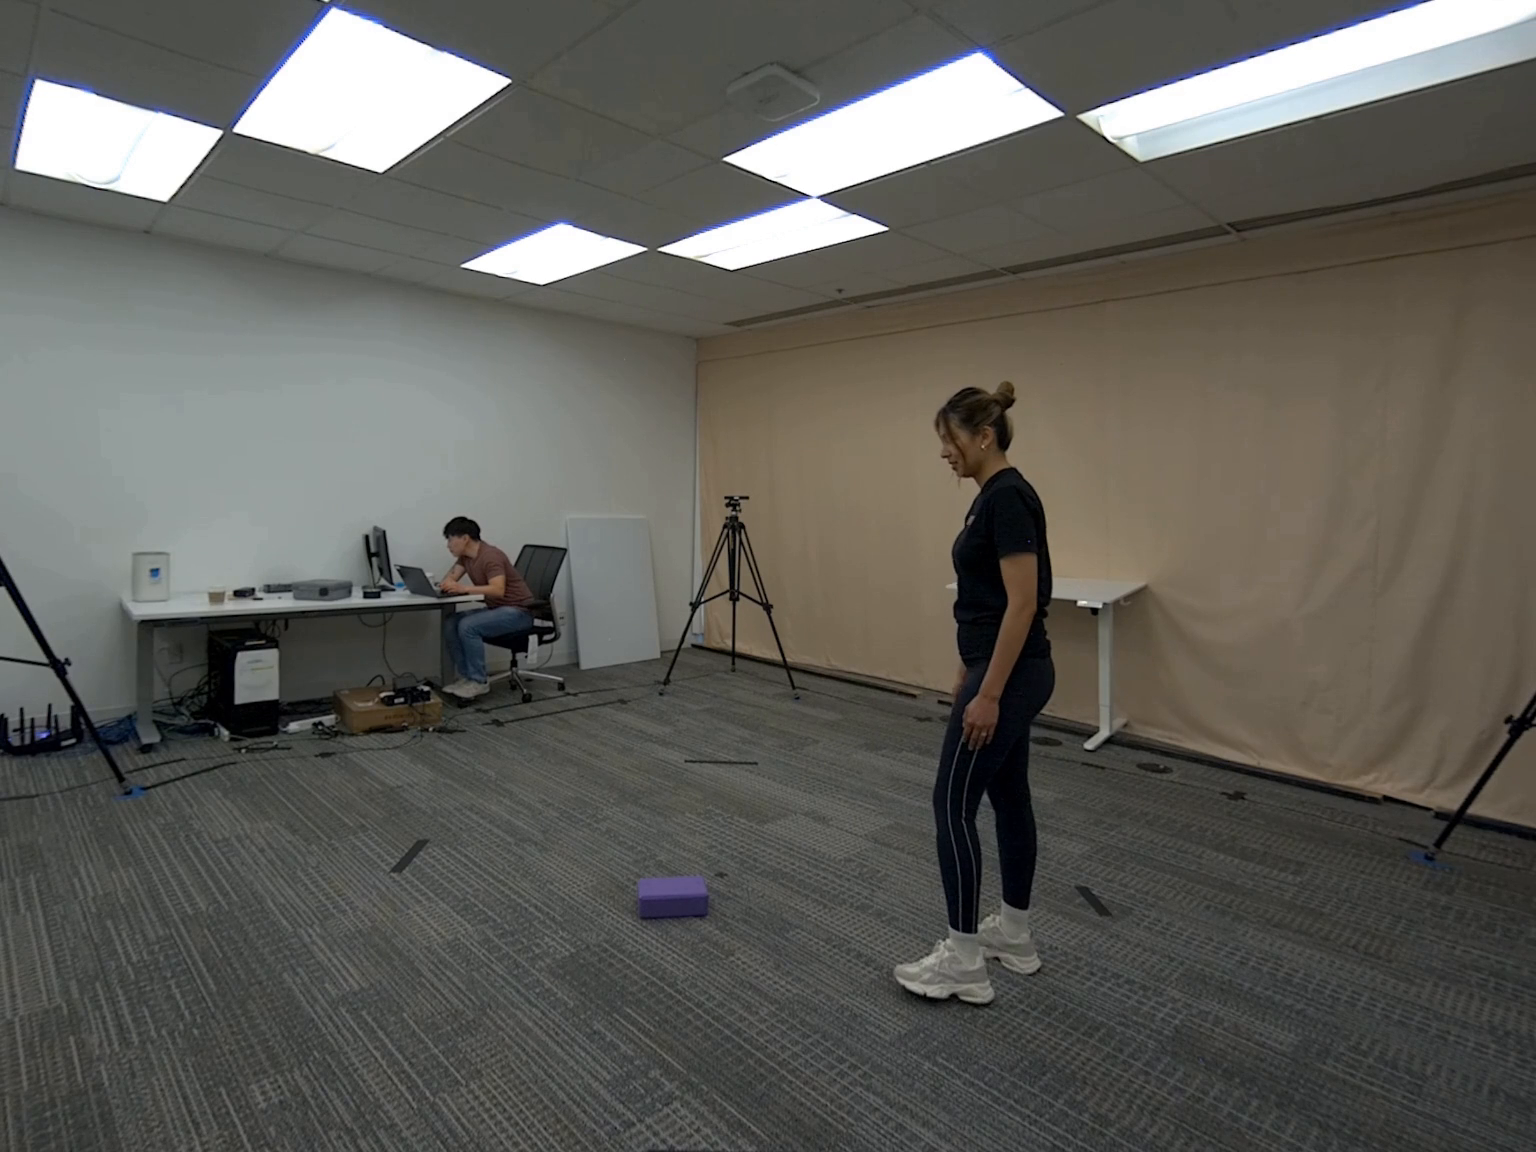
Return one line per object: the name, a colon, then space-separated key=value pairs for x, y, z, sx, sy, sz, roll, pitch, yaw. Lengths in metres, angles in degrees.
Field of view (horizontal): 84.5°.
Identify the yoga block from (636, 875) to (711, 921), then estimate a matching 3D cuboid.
yoga block: x=-0.328 y=1.086 z=2.843 sx=0.228 sy=0.076 sz=0.150 roll=0 pitch=4 yaw=-9
